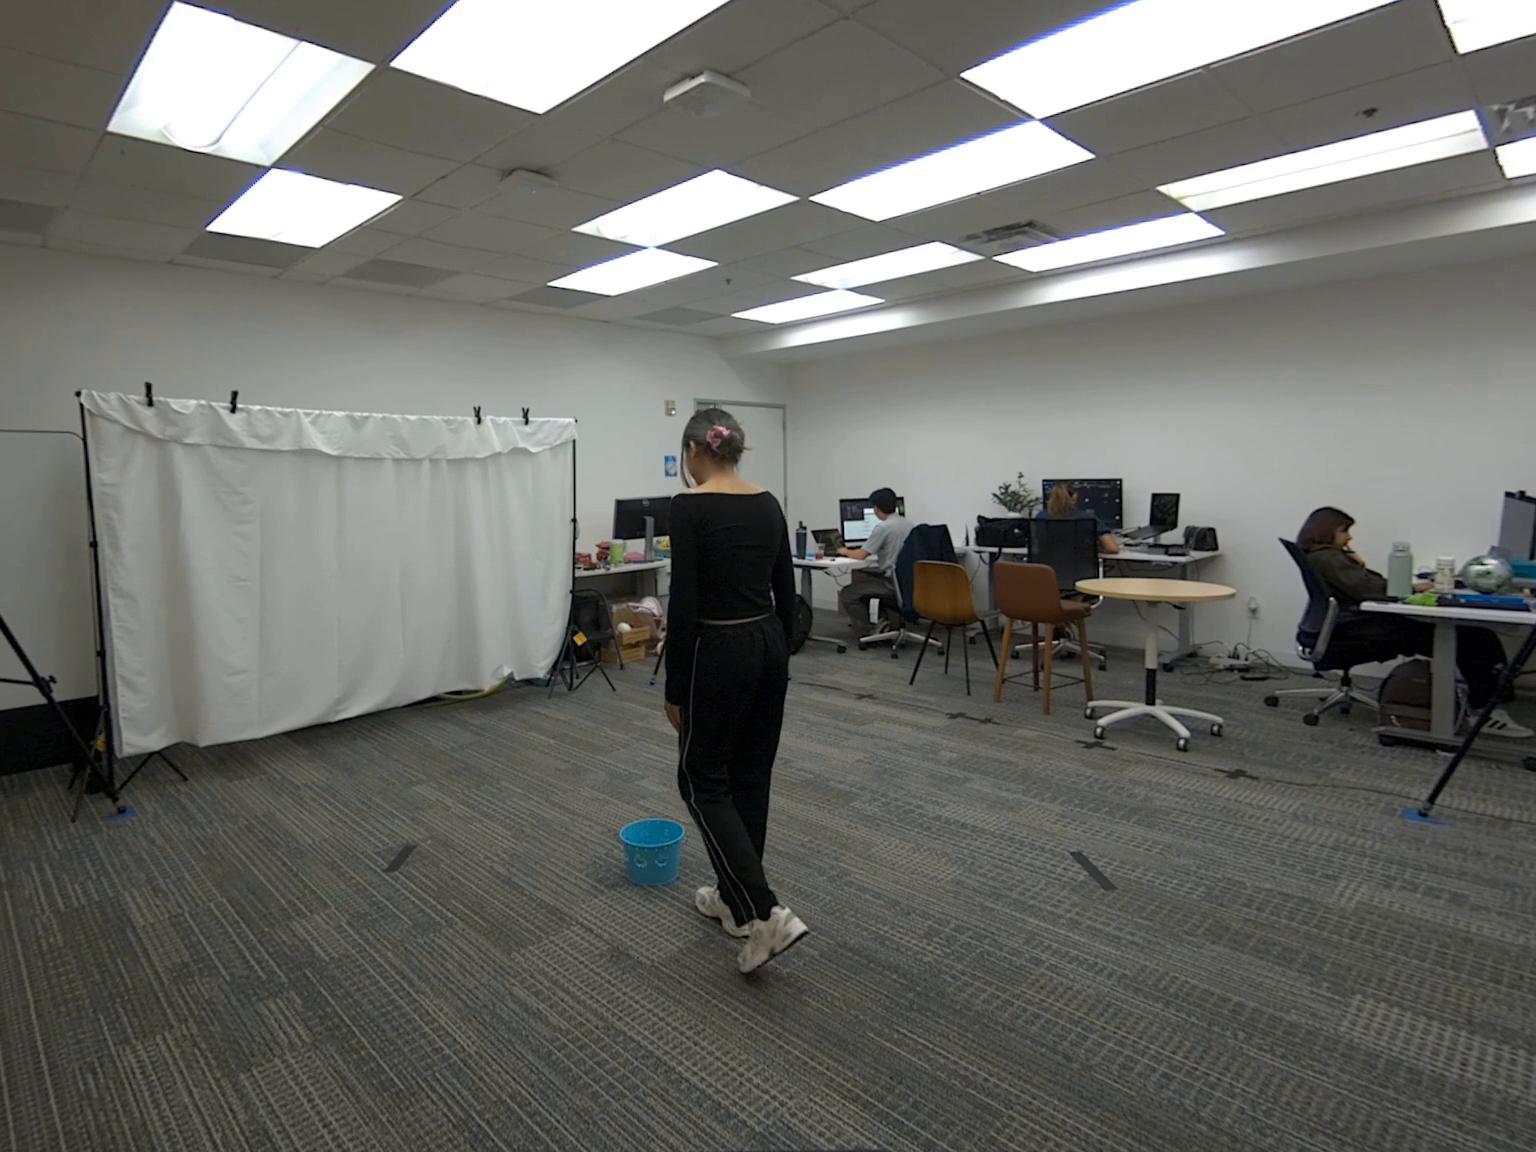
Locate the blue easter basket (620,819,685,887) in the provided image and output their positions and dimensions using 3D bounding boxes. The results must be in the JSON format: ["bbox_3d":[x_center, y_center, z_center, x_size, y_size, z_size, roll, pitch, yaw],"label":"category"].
[{"bbox_3d":[-0.401,0.978,3.032,0.243,0.155,0.245,-1,6,-2],"label":"blue easter basket"}]
